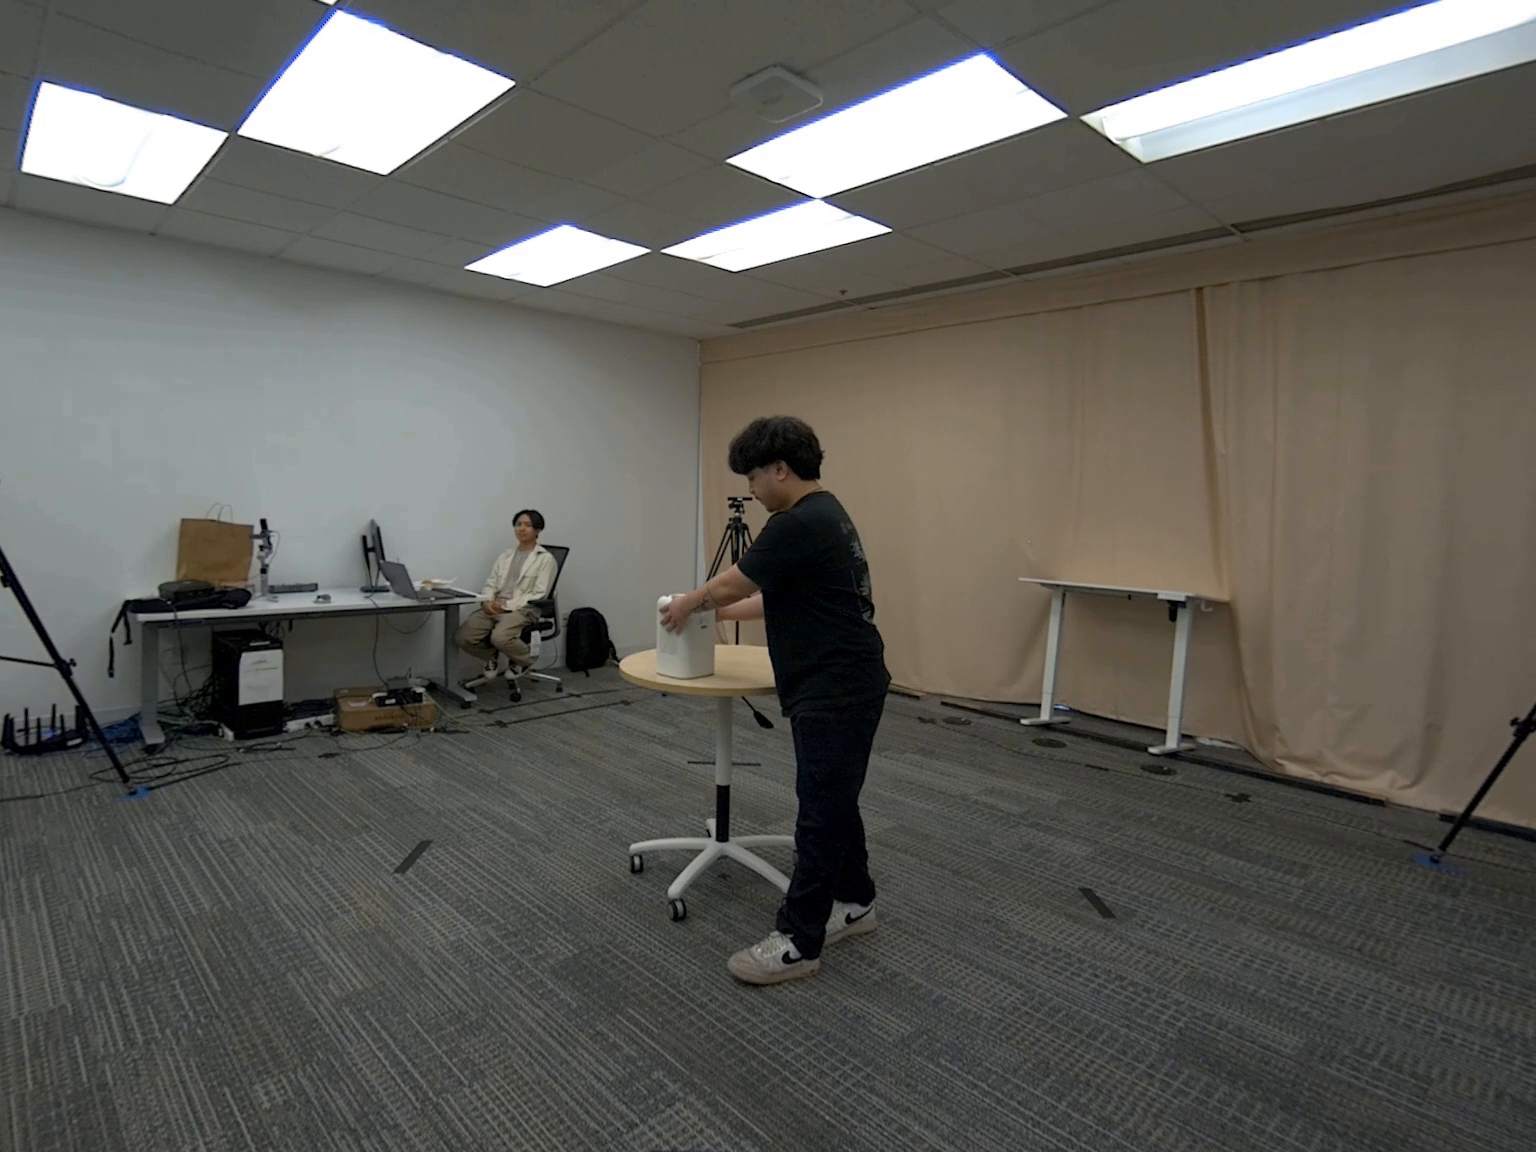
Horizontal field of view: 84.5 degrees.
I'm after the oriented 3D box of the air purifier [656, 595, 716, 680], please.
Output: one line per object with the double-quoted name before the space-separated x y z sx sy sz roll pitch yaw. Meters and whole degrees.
"air purifier" -0.283 0.205 2.867 0.176 0.264 0.167 5 6 39
